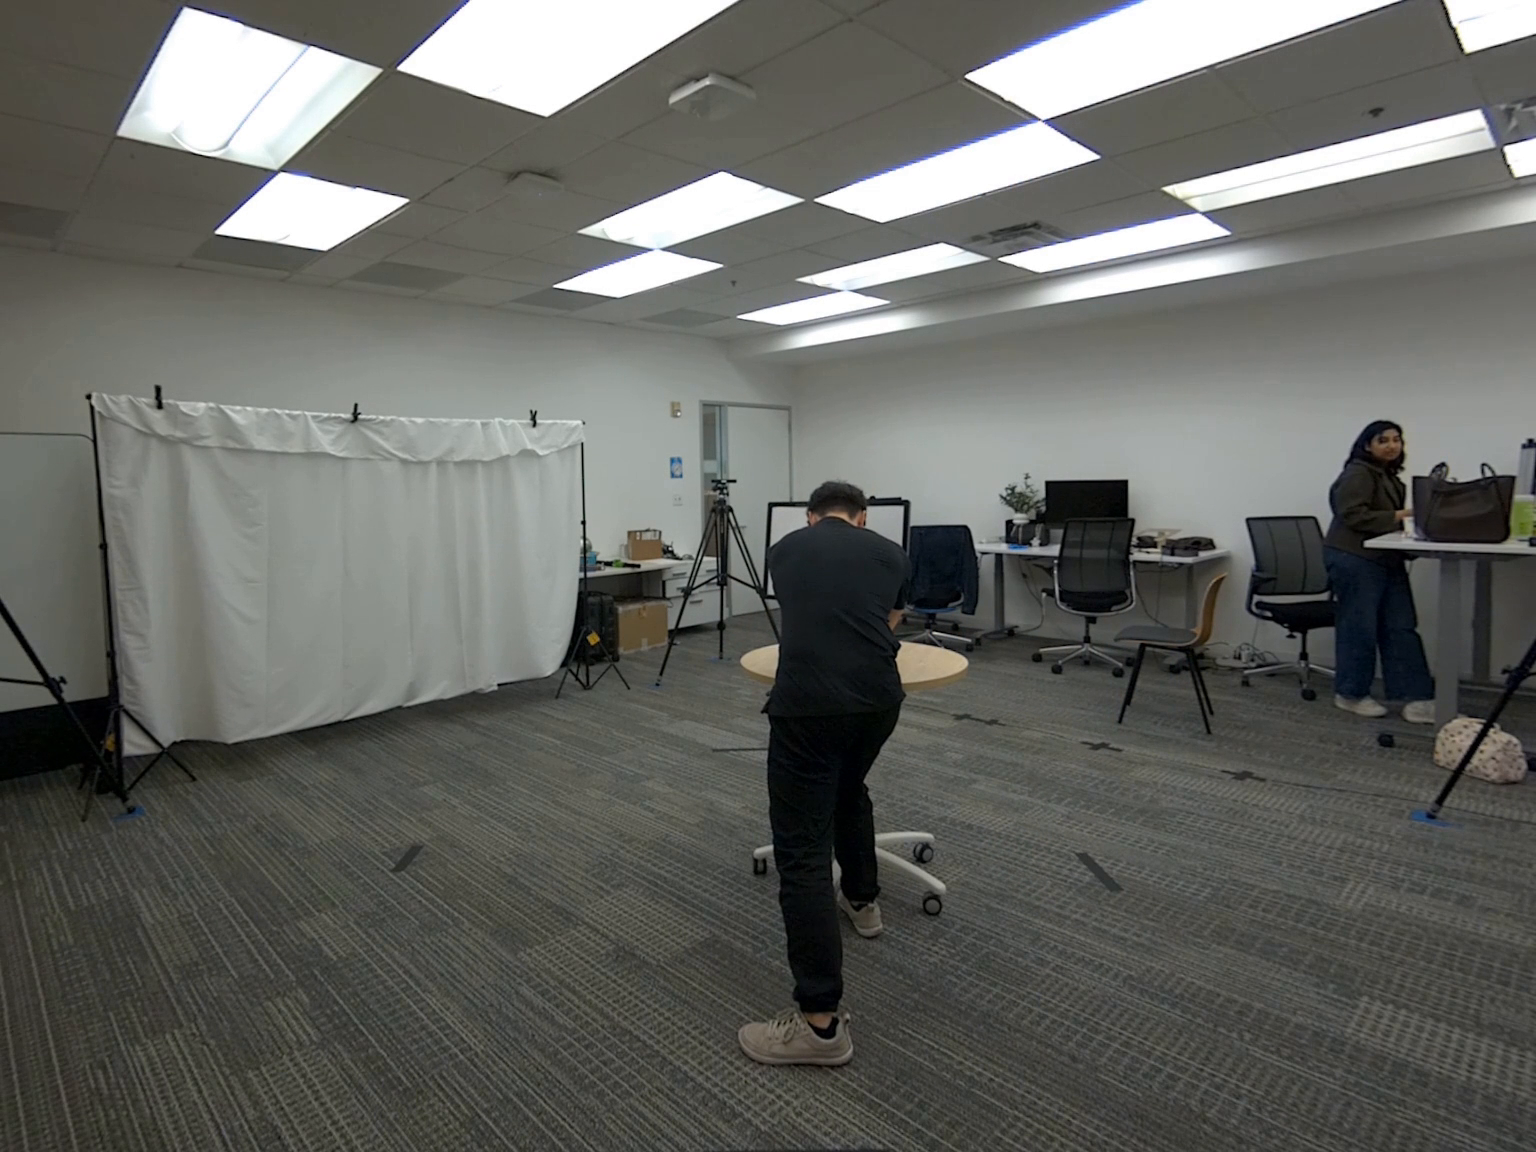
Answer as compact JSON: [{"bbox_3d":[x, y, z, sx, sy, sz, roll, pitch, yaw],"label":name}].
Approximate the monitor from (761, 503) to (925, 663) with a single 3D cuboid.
[{"bbox_3d":[0.262,0.003,3.069,0.554,0.520,0.183,2,6,32],"label":"monitor"}]
